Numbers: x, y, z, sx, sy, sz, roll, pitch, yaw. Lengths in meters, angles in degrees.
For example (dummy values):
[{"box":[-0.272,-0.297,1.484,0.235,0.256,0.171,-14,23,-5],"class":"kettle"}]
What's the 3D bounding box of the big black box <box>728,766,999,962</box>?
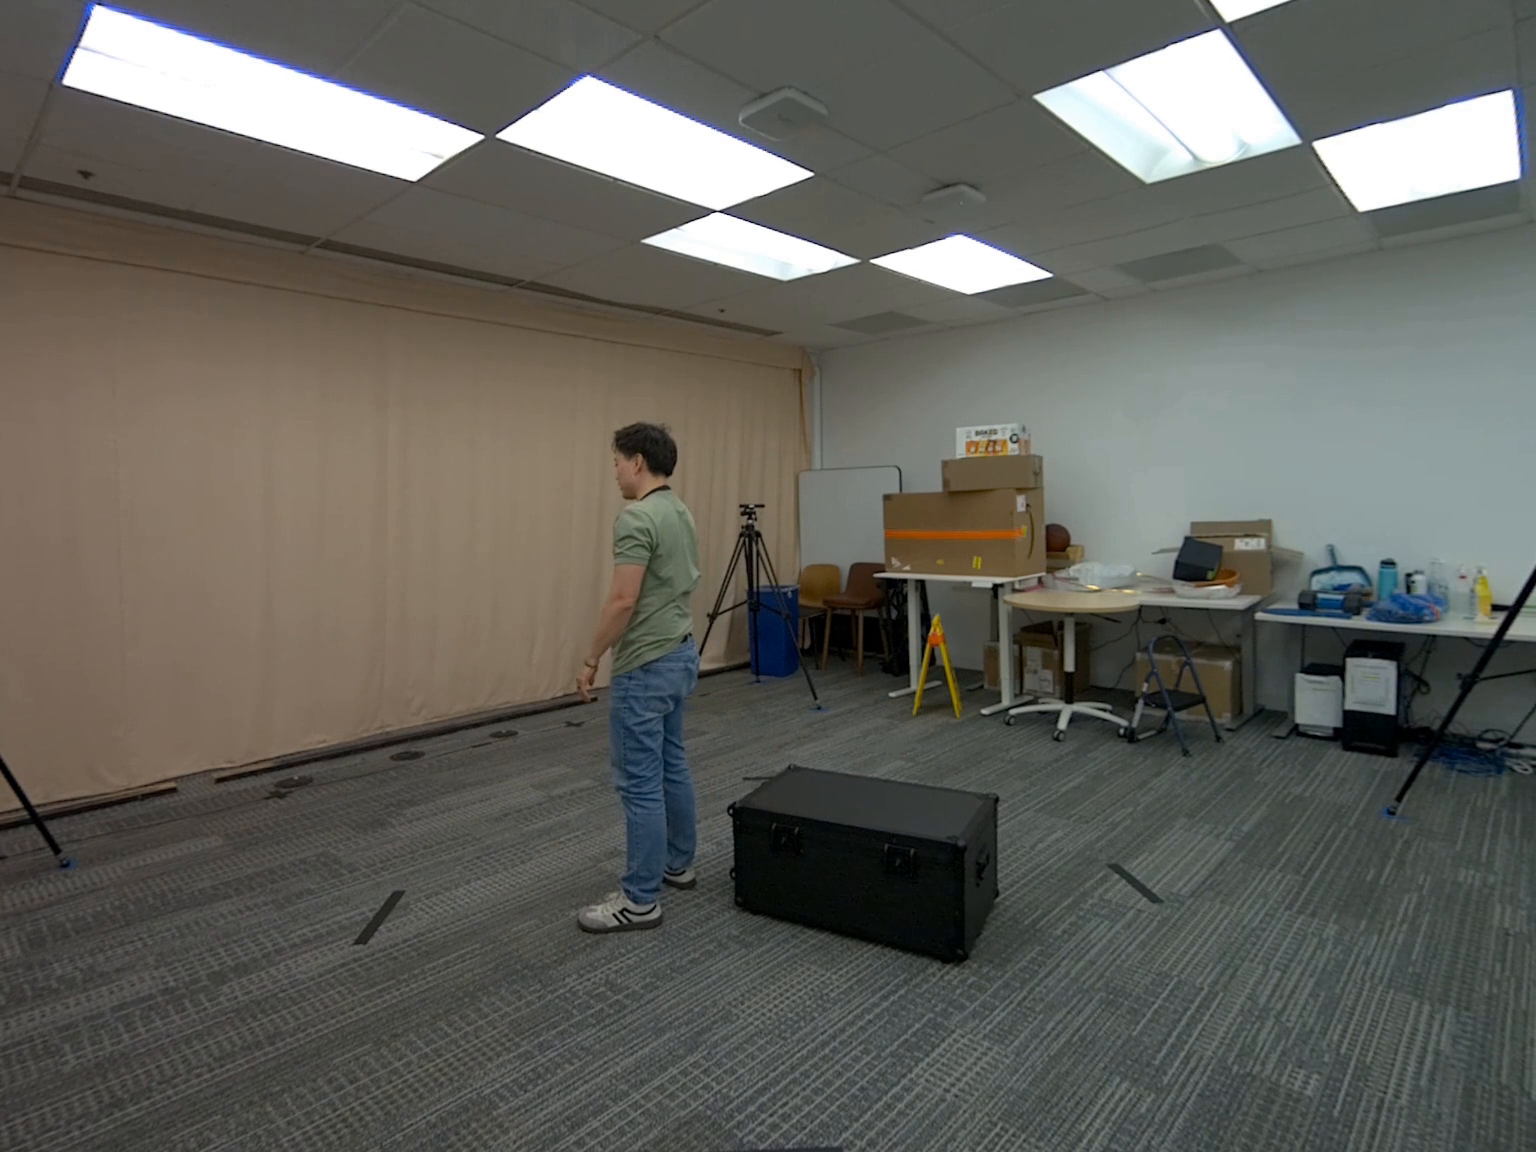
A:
[{"box":[0.313,0.948,2.905,0.885,0.395,0.508,2,5,28],"class":"big black box"}]
